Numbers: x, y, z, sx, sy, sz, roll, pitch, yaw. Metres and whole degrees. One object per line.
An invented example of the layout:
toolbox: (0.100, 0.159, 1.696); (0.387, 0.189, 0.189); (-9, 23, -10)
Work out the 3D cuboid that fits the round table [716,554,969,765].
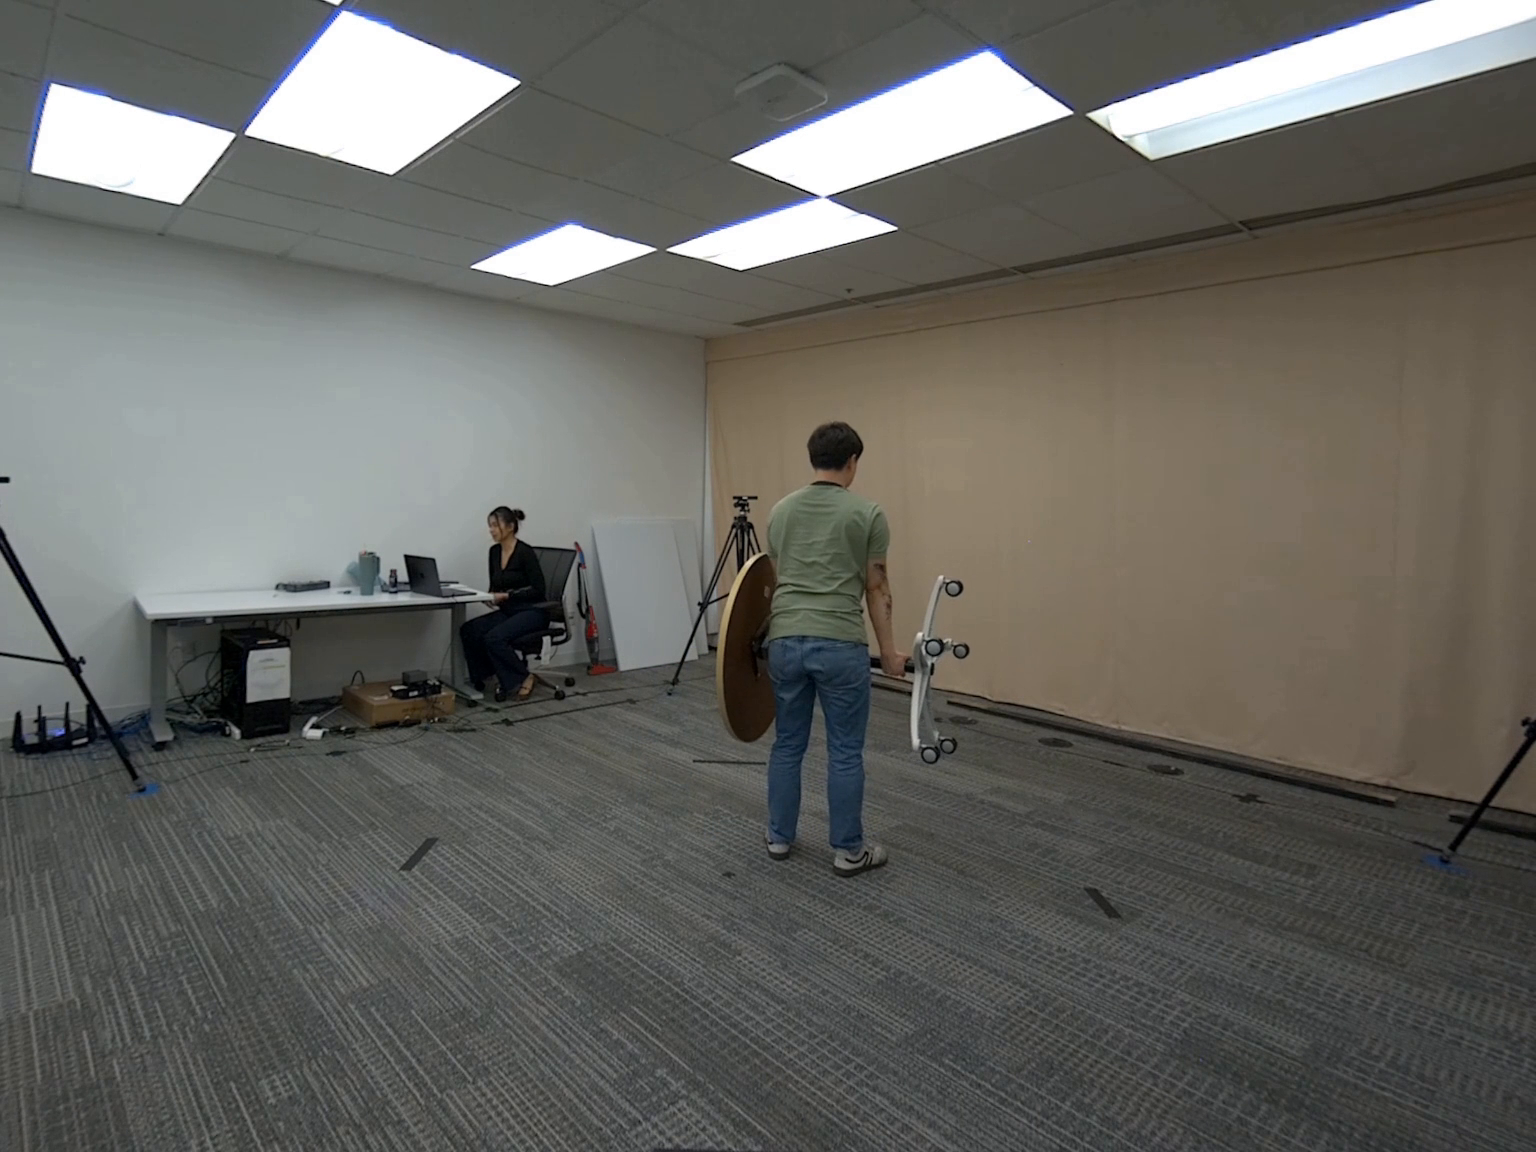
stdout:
round table: (0.320, 0.334, 3.273); (0.809, 0.761, 0.752); (5, 5, 22)
